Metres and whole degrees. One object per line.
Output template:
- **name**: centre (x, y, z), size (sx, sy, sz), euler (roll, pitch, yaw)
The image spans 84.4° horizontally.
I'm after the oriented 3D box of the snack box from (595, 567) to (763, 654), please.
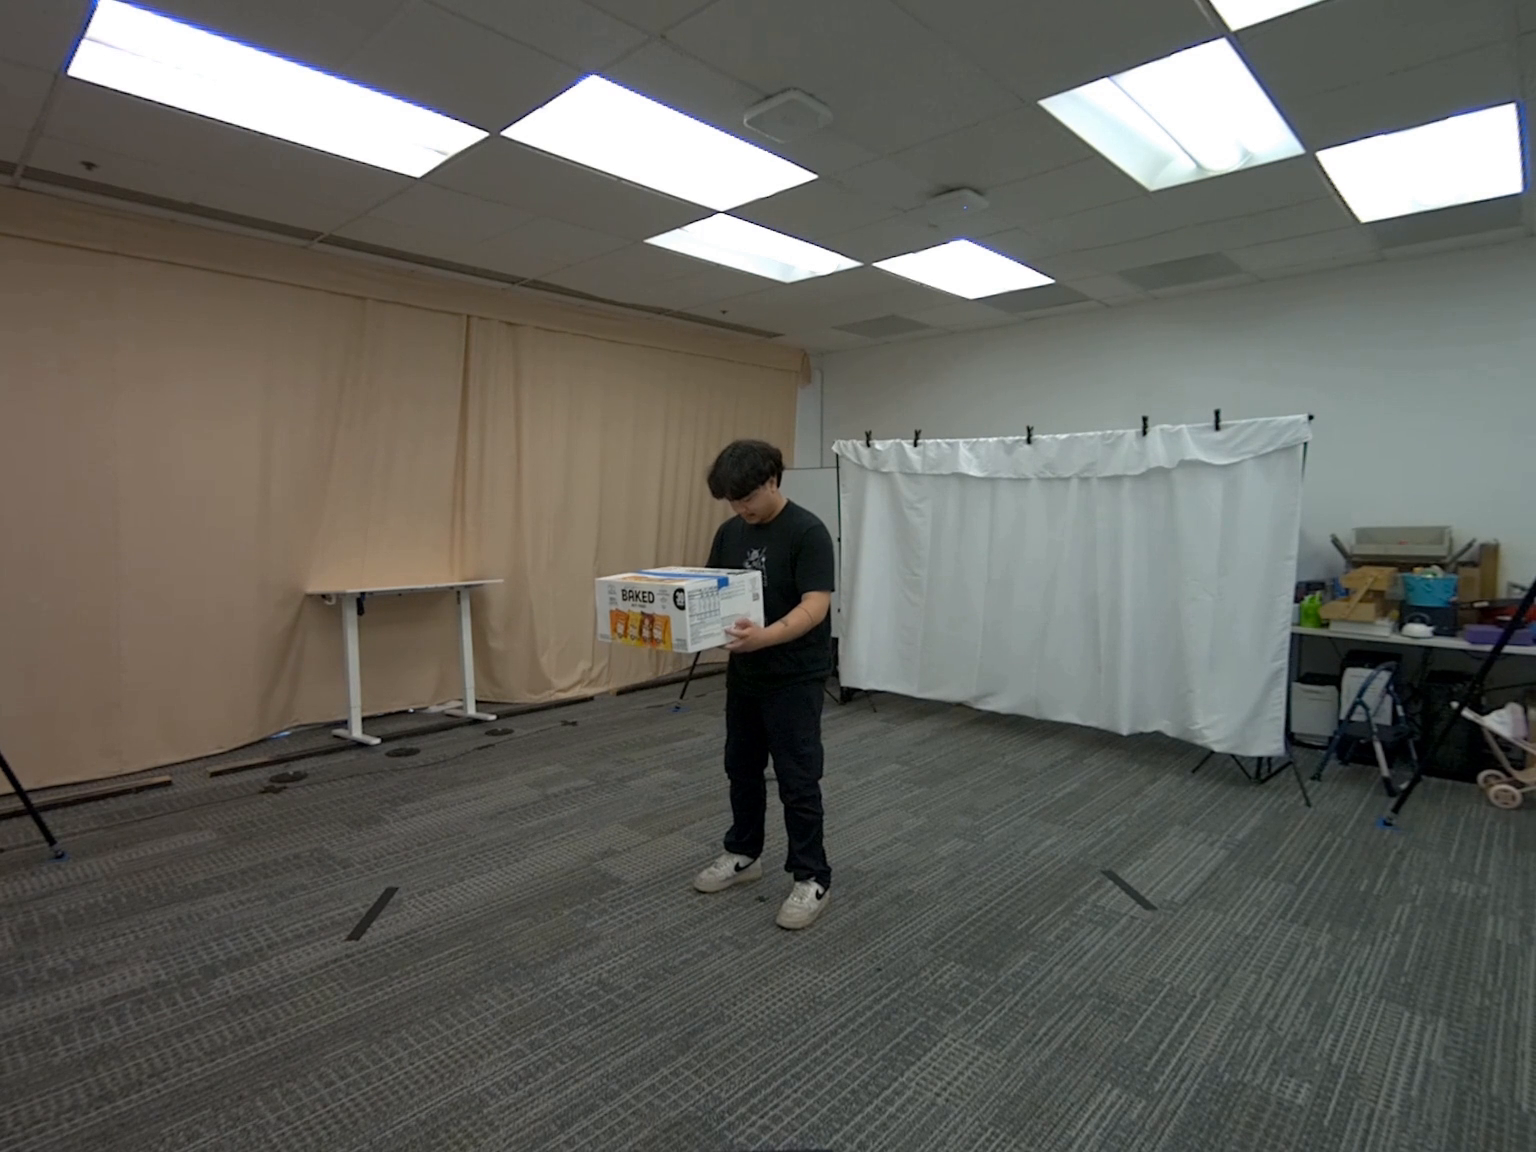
- **snack box**: centre (-0.276, 0.101, 2.661), size (0.418, 0.205, 0.331), euler (3, 9, 41)
